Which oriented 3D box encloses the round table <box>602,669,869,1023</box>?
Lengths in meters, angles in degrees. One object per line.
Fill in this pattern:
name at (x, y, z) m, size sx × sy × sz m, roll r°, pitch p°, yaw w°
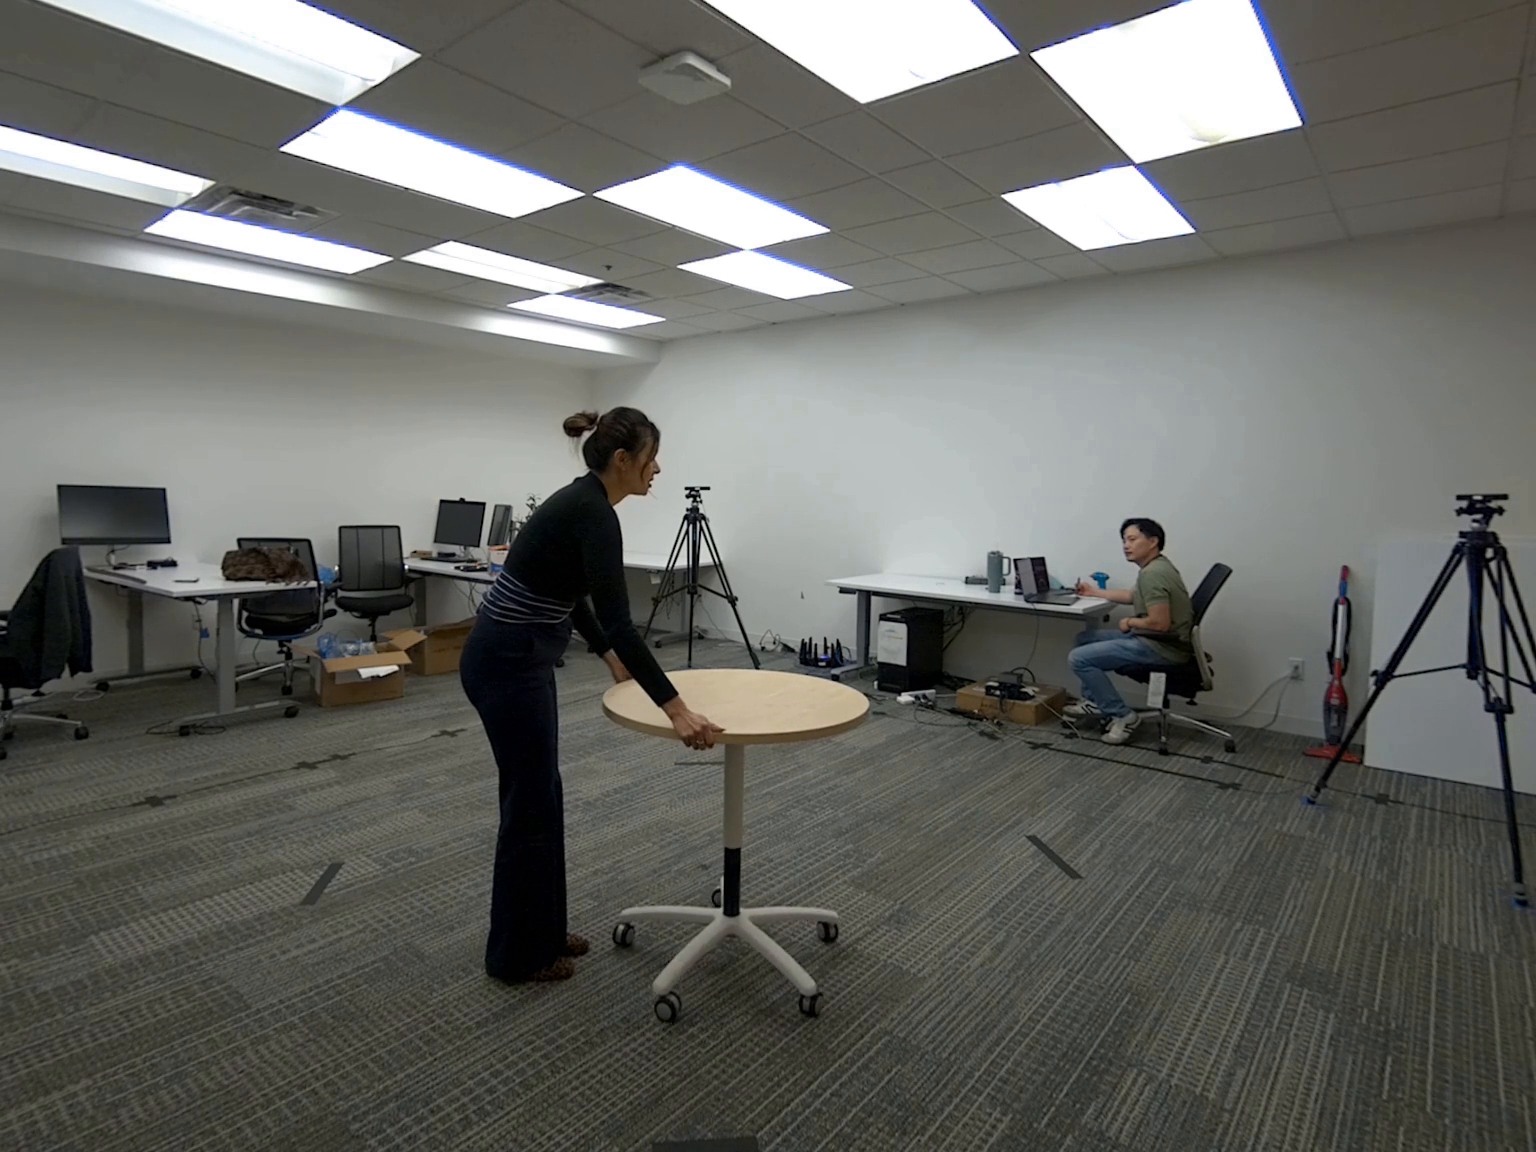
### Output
round table at (-0.115, 0.744, 2.480) m, size 0.763 × 0.791 × 0.768 m, roll 1°, pitch 4°, yaw -2°
